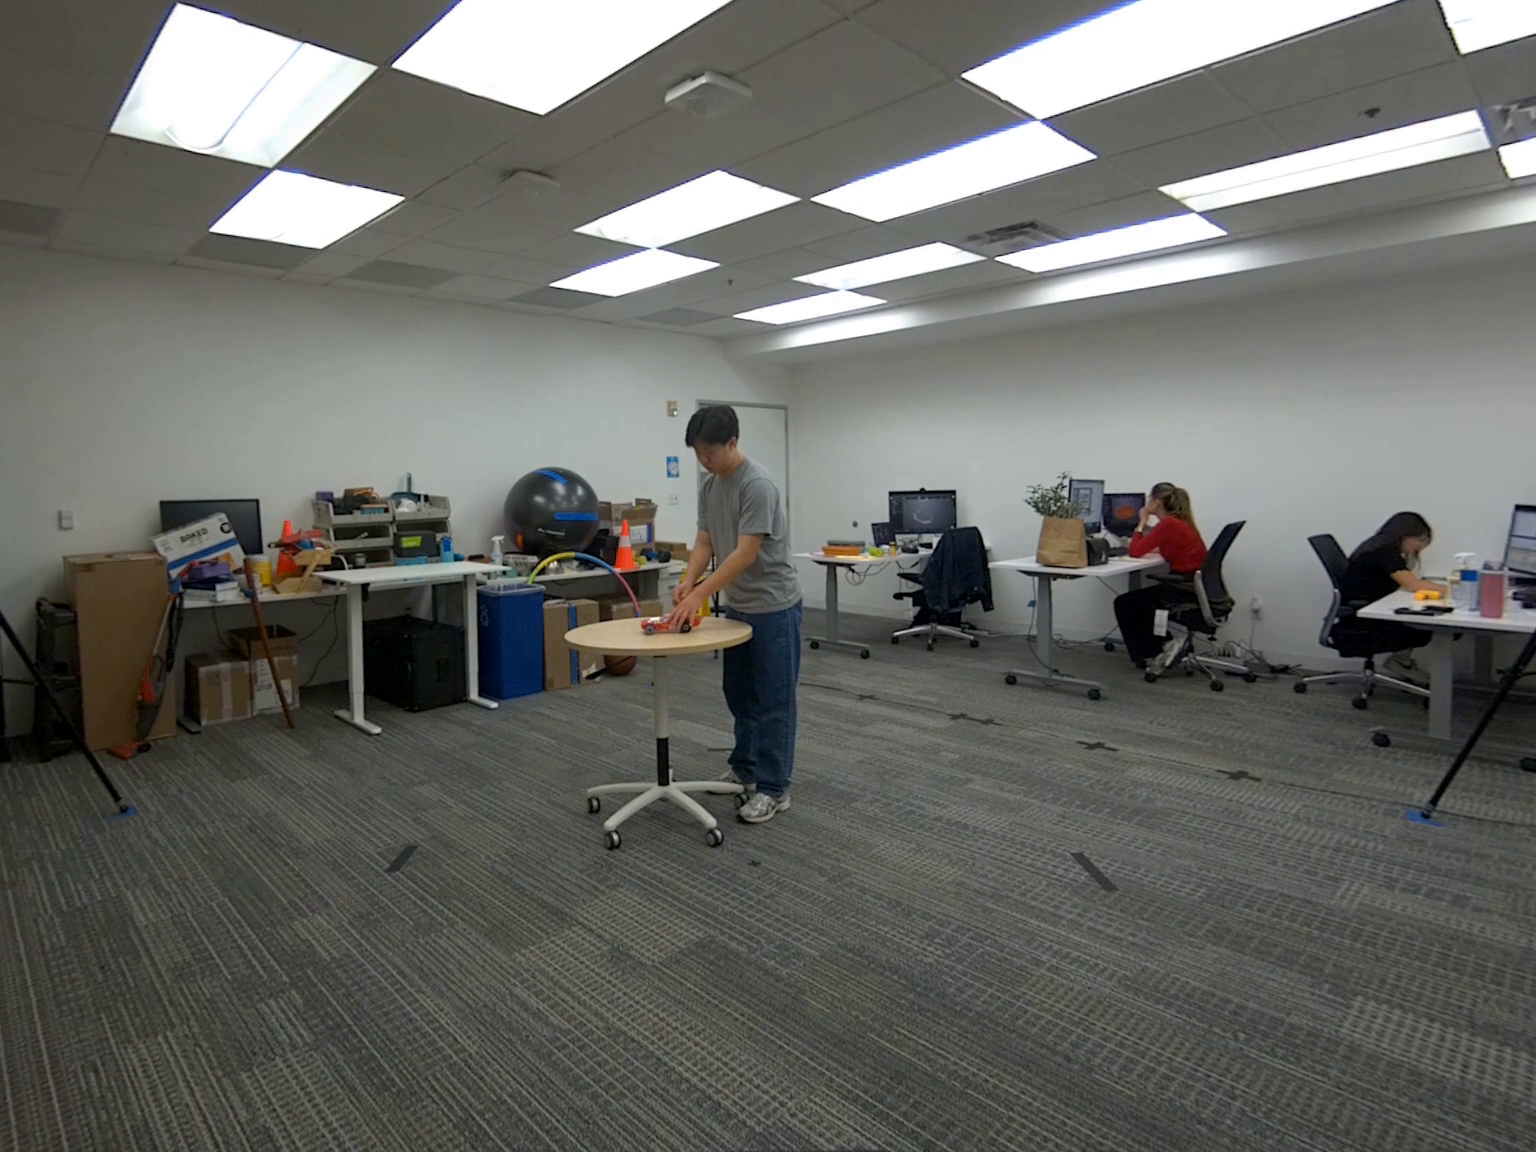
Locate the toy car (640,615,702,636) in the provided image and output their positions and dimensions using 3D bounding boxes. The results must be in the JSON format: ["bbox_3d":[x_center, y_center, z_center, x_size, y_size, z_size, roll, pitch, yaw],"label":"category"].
[{"bbox_3d":[-0.392,0.194,3.479,0.253,0.083,0.132,-13,6,-6],"label":"toy car"}]
